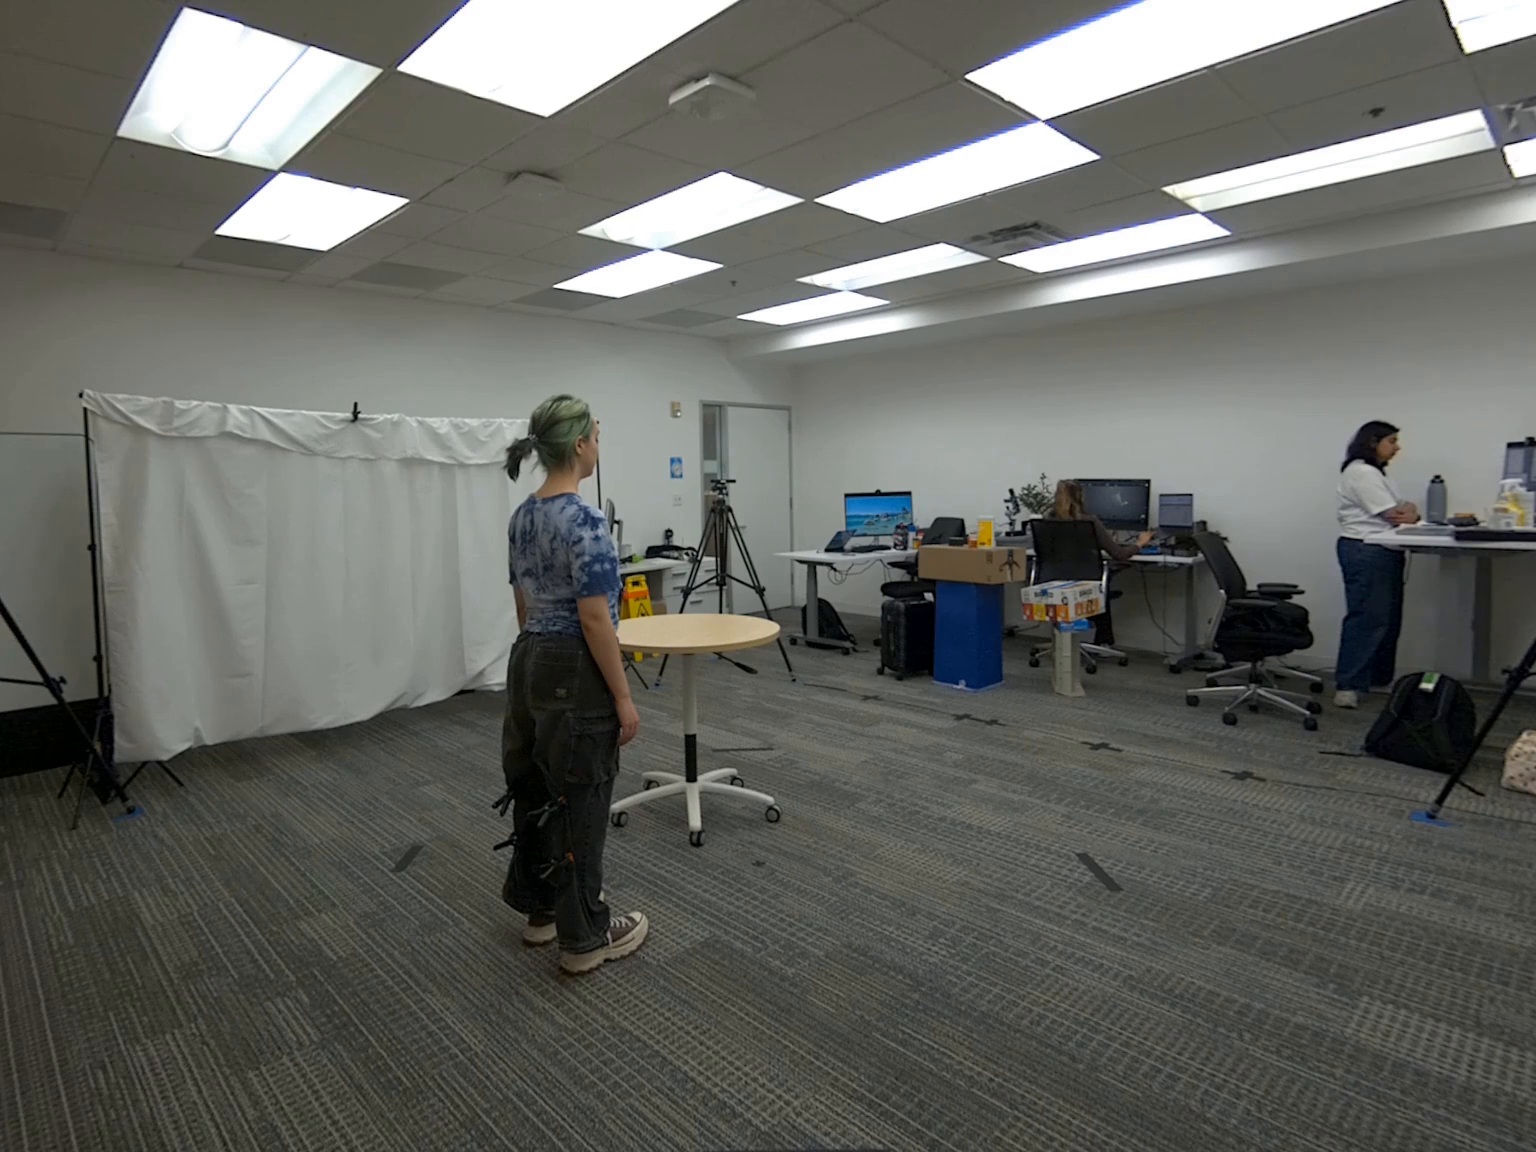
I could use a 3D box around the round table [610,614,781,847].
[{"bbox_3d":[-0.321,0.613,3.565,0.763,0.791,0.768,-1,4,-2],"label":"round table"}]
